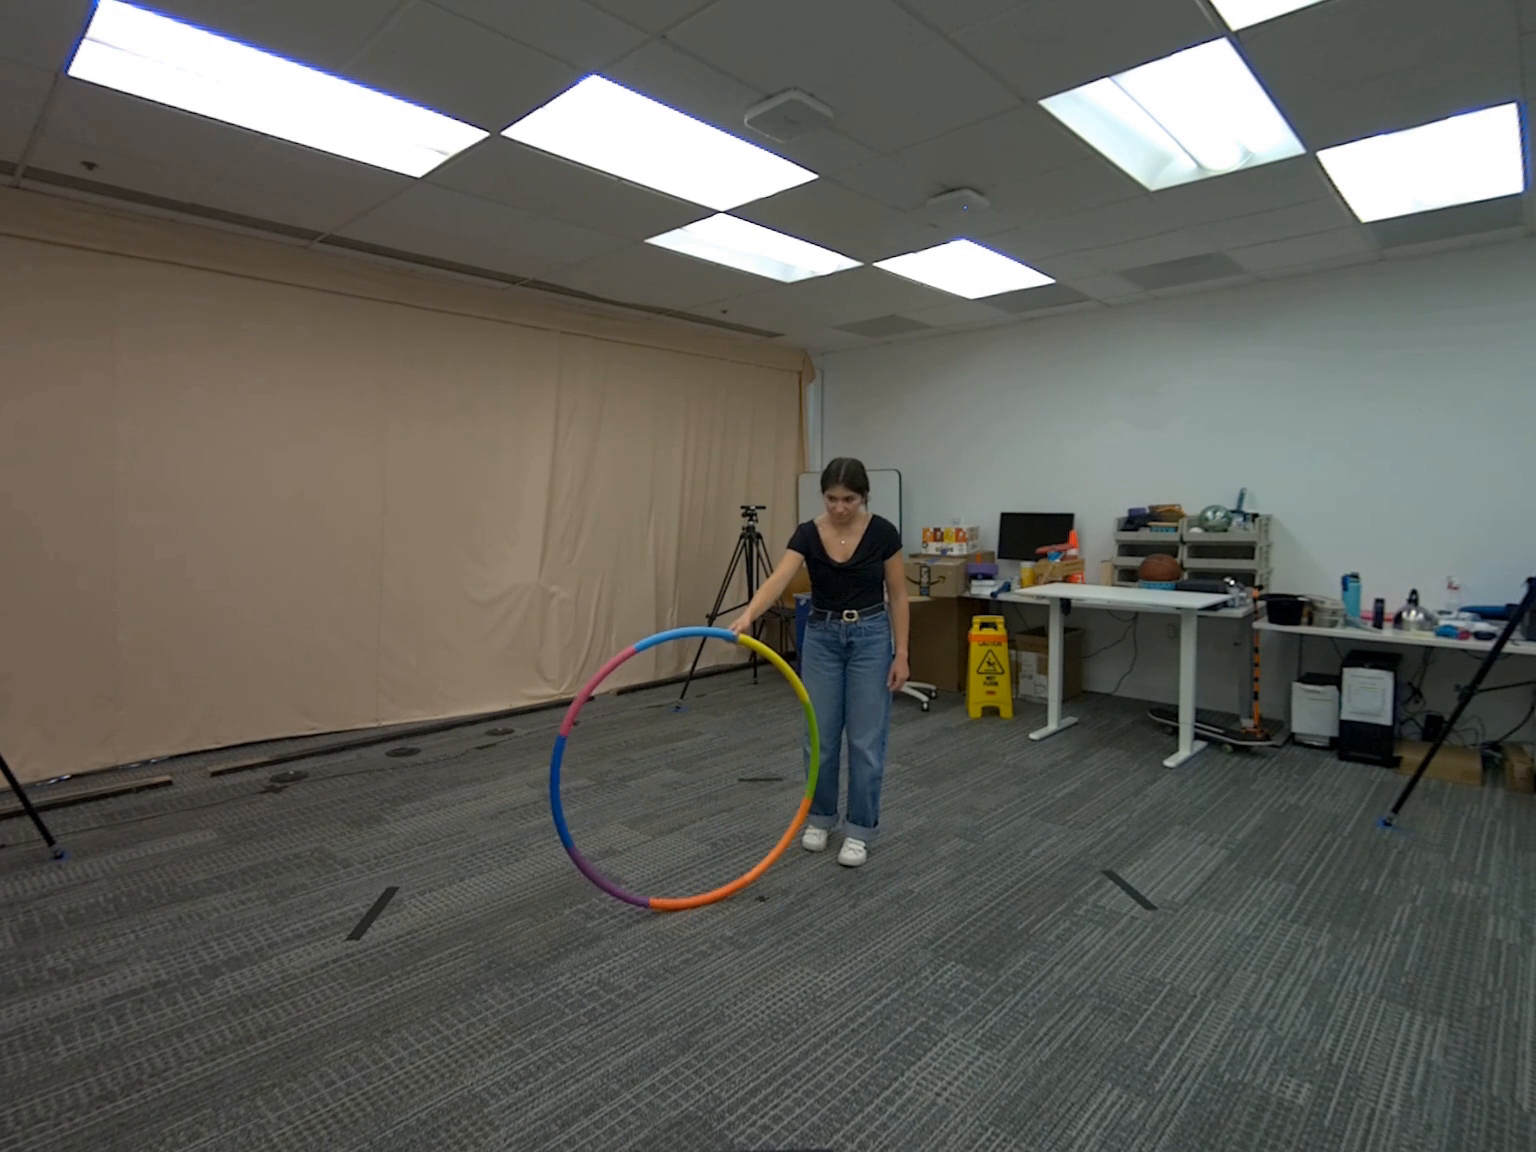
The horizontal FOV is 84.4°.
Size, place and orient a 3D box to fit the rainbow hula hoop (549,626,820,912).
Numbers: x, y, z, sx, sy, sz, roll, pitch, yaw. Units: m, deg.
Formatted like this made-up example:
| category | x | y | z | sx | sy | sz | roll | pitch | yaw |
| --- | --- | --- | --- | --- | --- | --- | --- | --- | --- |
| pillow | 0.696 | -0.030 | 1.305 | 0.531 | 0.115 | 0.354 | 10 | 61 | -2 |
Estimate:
| category | x | y | z | sx | sy | sz | roll | pitch | yaw |
| --- | --- | --- | --- | --- | --- | --- | --- | --- | --- |
| rainbow hula hoop | -0.250 | 0.668 | 2.893 | 0.956 | 0.976 | 0.036 | -2 | 5 | -23 |
